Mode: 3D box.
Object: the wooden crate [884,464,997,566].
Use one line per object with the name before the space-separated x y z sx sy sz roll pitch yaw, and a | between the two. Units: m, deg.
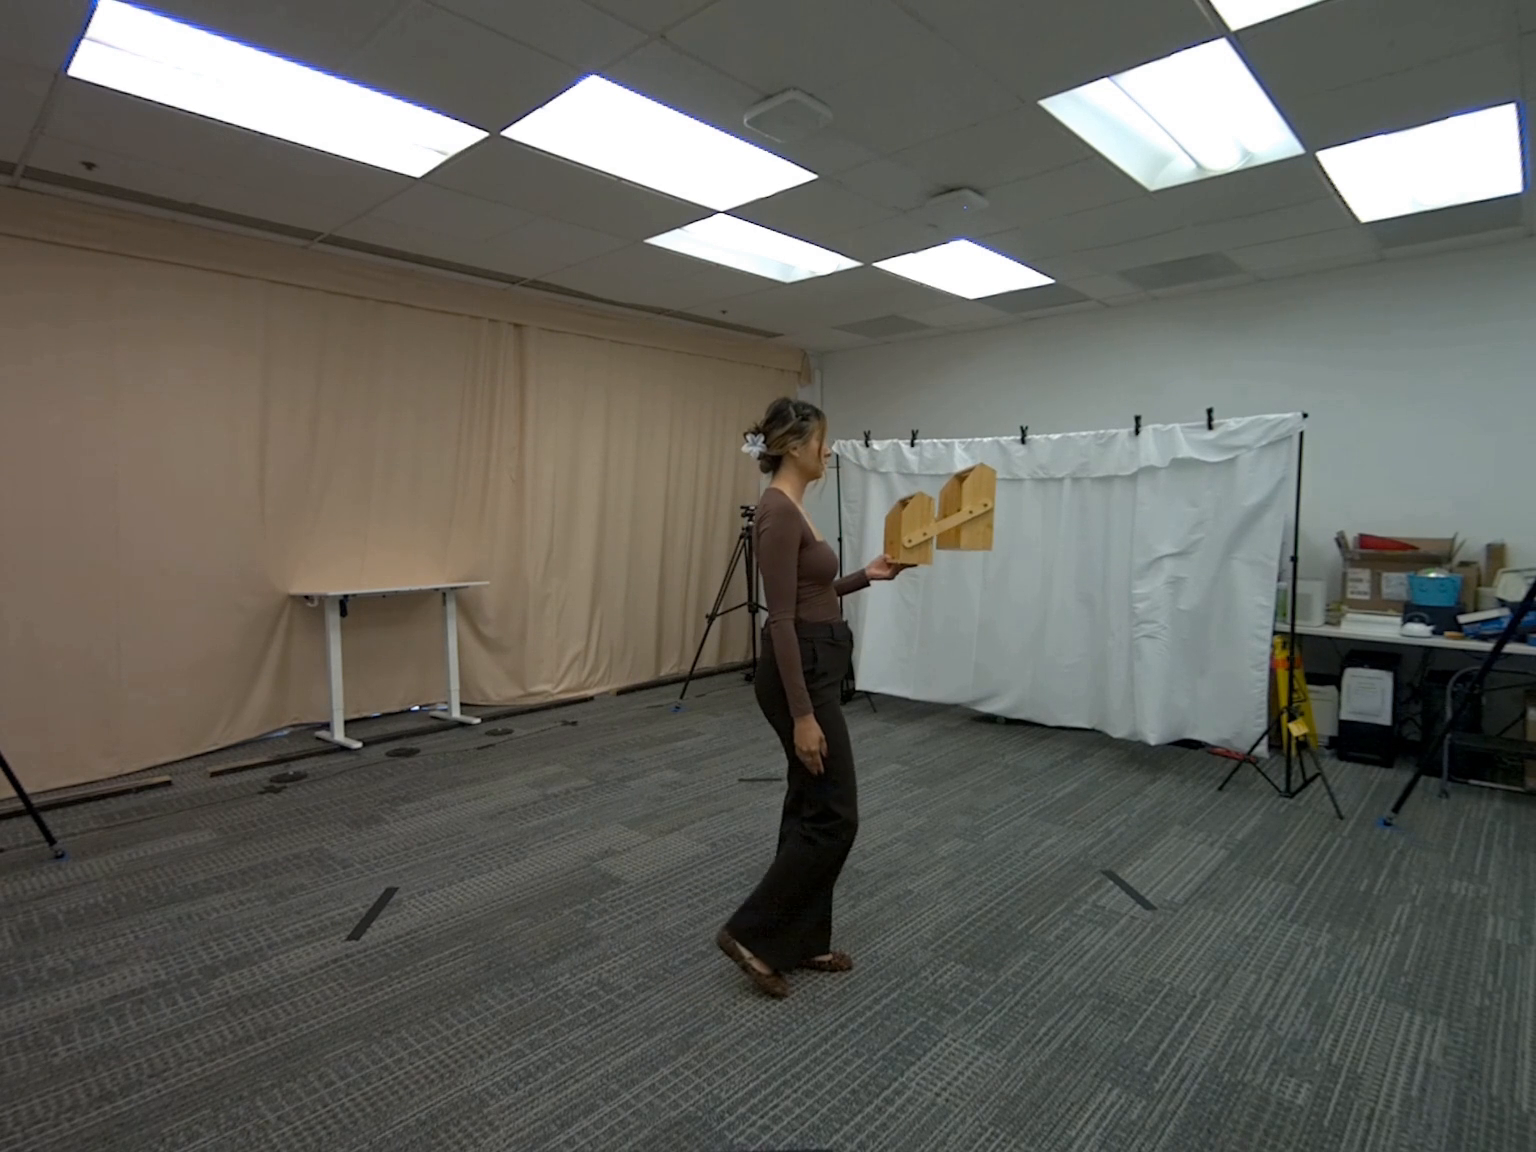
wooden crate | 0.510 -0.182 2.548 0.273 0.302 0.324 3 0 -1
